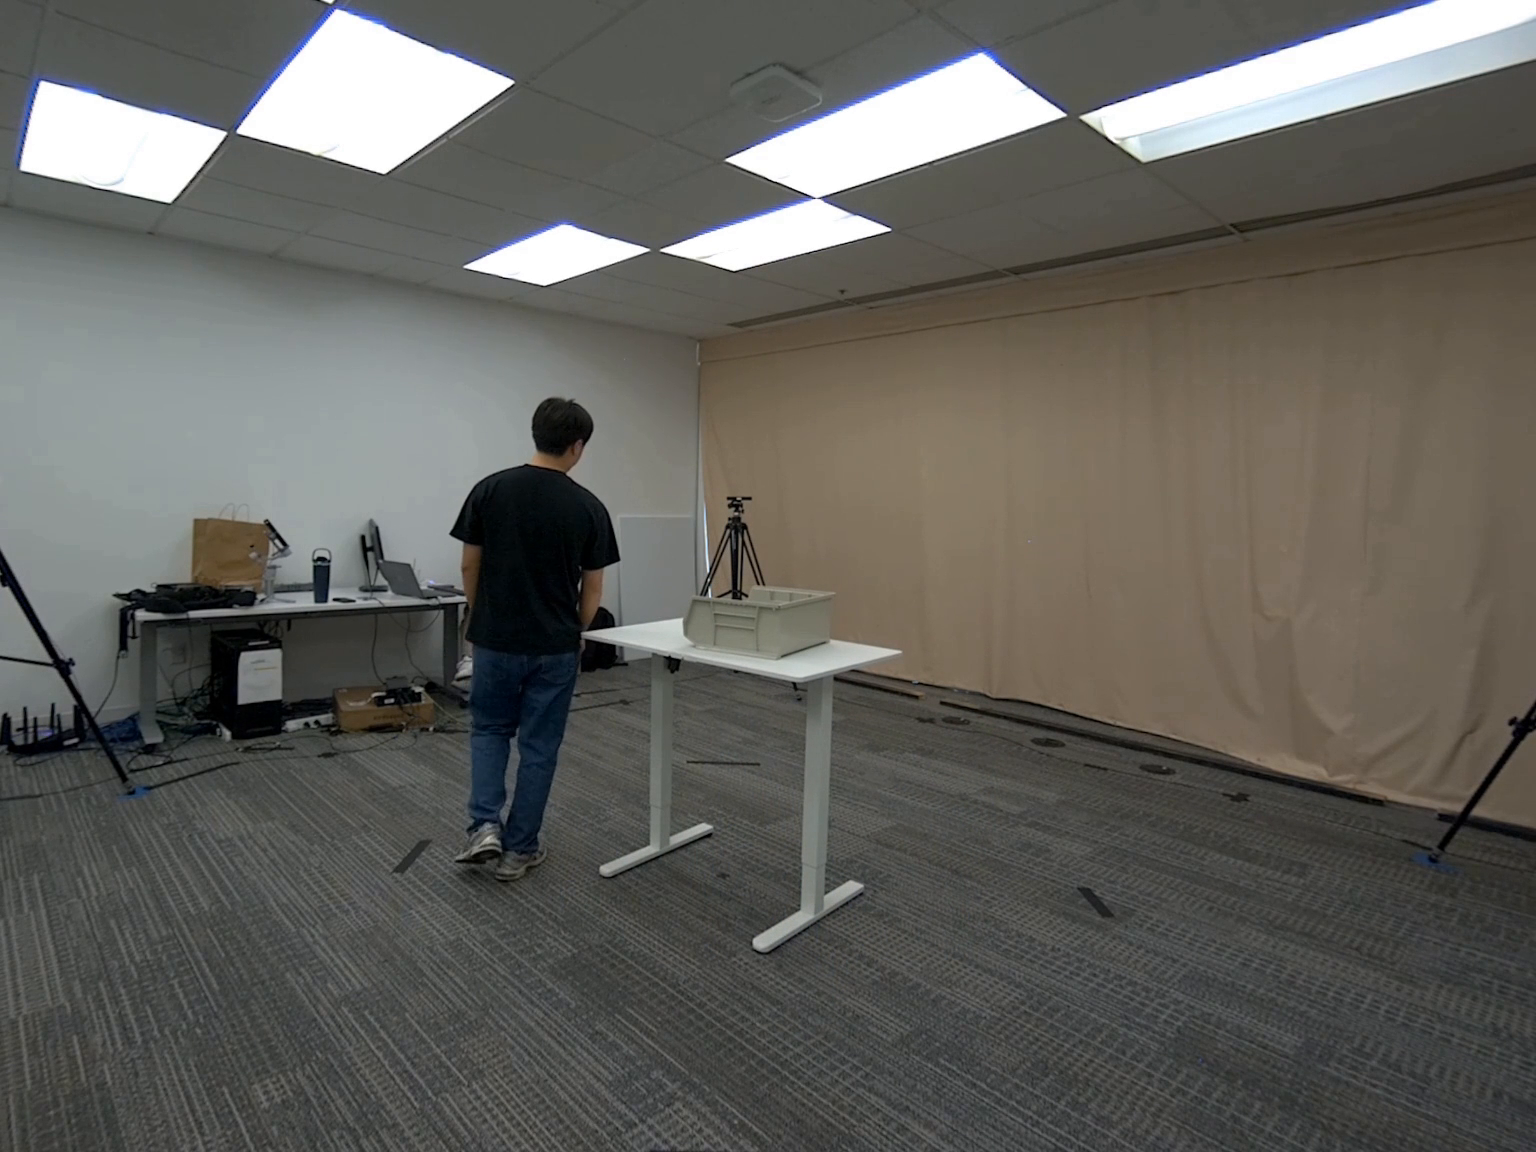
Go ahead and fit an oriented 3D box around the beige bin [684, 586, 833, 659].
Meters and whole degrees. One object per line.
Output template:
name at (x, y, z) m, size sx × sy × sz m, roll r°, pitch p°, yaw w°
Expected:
beige bin at (-0.030, 0.156, 2.933) m, size 0.386 × 0.188 × 0.414 m, roll 6°, pitch 6°, yaw 30°
